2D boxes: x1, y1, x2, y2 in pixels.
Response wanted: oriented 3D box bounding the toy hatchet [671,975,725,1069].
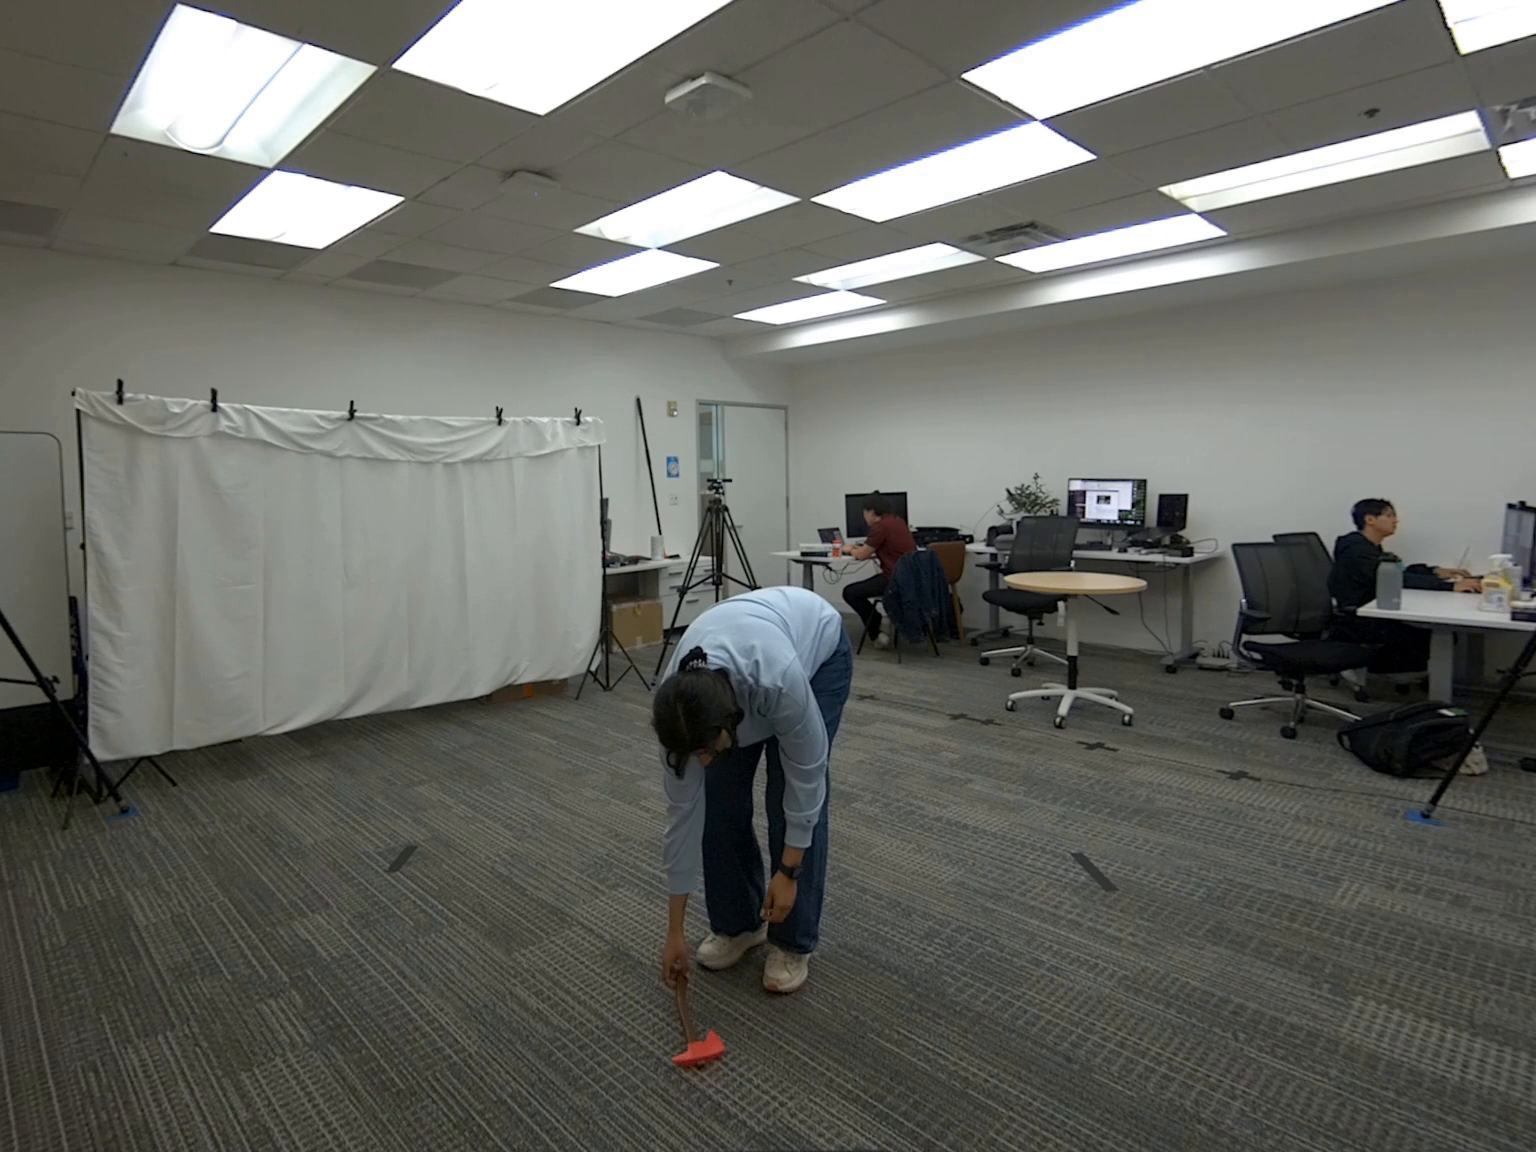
[{"bbox_3d":[-0.166,1.120,2.151,0.130,0.029,0.276,1,23,-5],"label":"toy hatchet"}]
